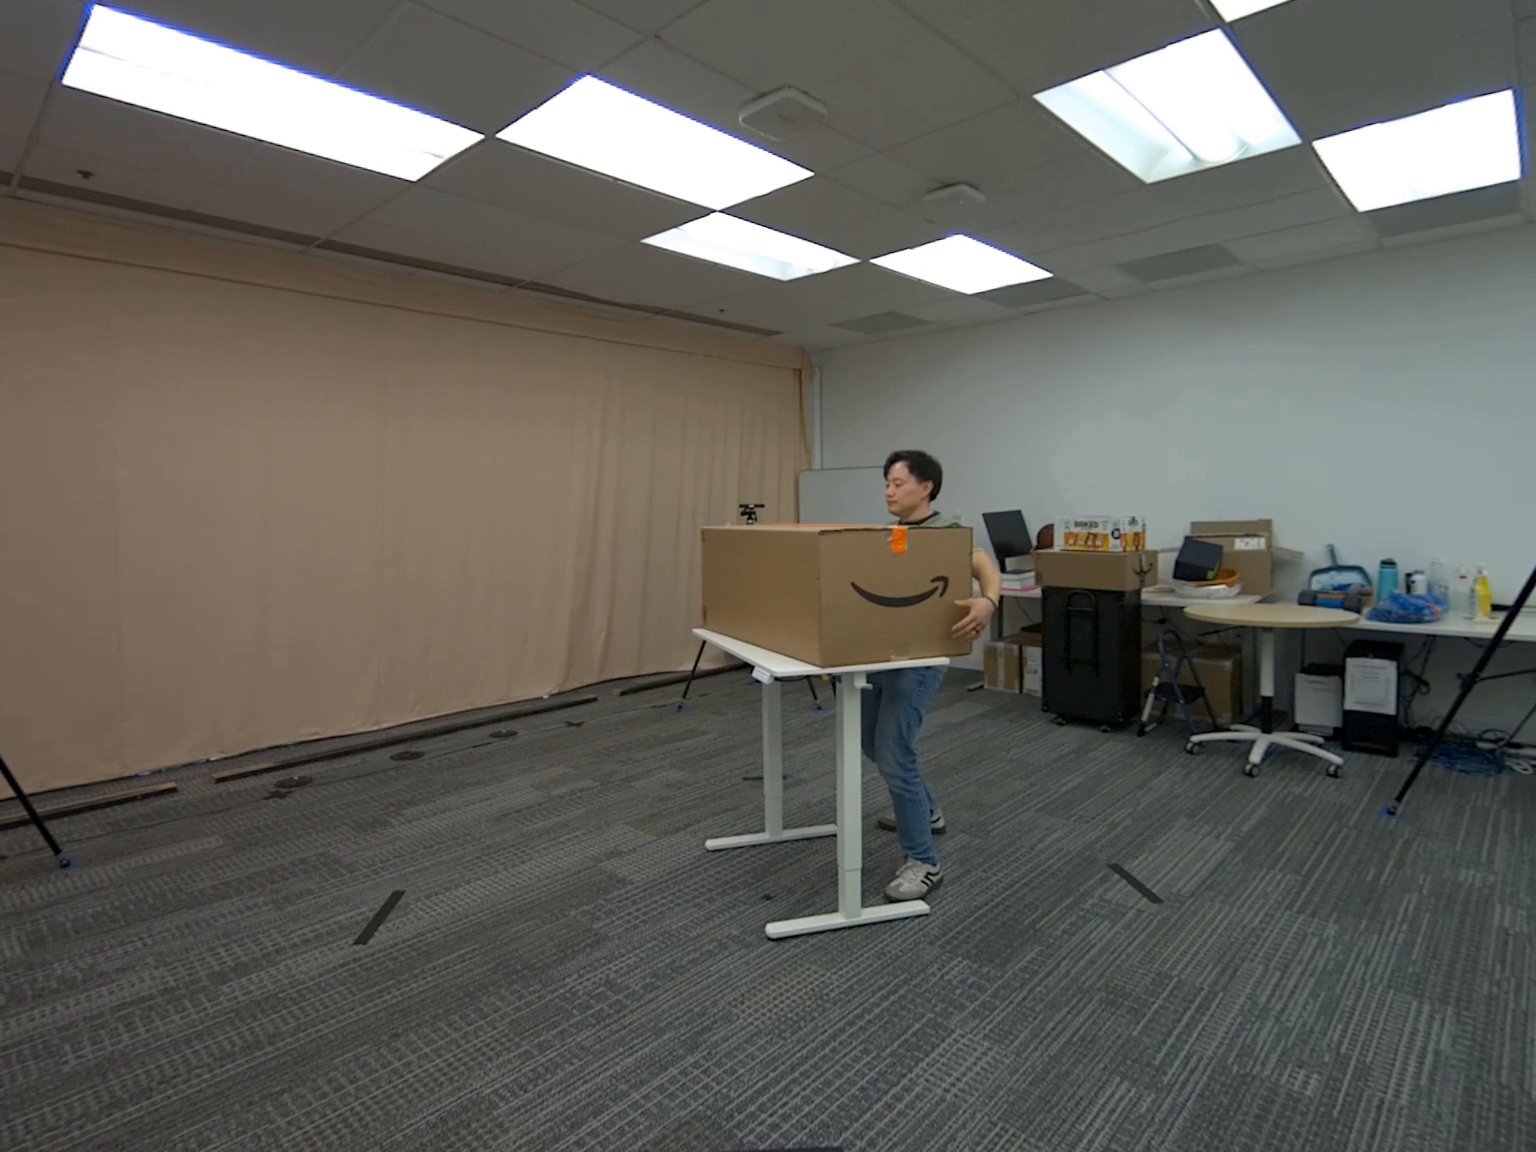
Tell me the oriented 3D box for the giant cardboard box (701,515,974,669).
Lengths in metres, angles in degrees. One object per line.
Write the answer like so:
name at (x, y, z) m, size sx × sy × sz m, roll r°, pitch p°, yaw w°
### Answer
giant cardboard box at (0.196, 0.025, 3.140) m, size 0.564 × 0.425 × 1.051 m, roll -2°, pitch 4°, yaw -24°
